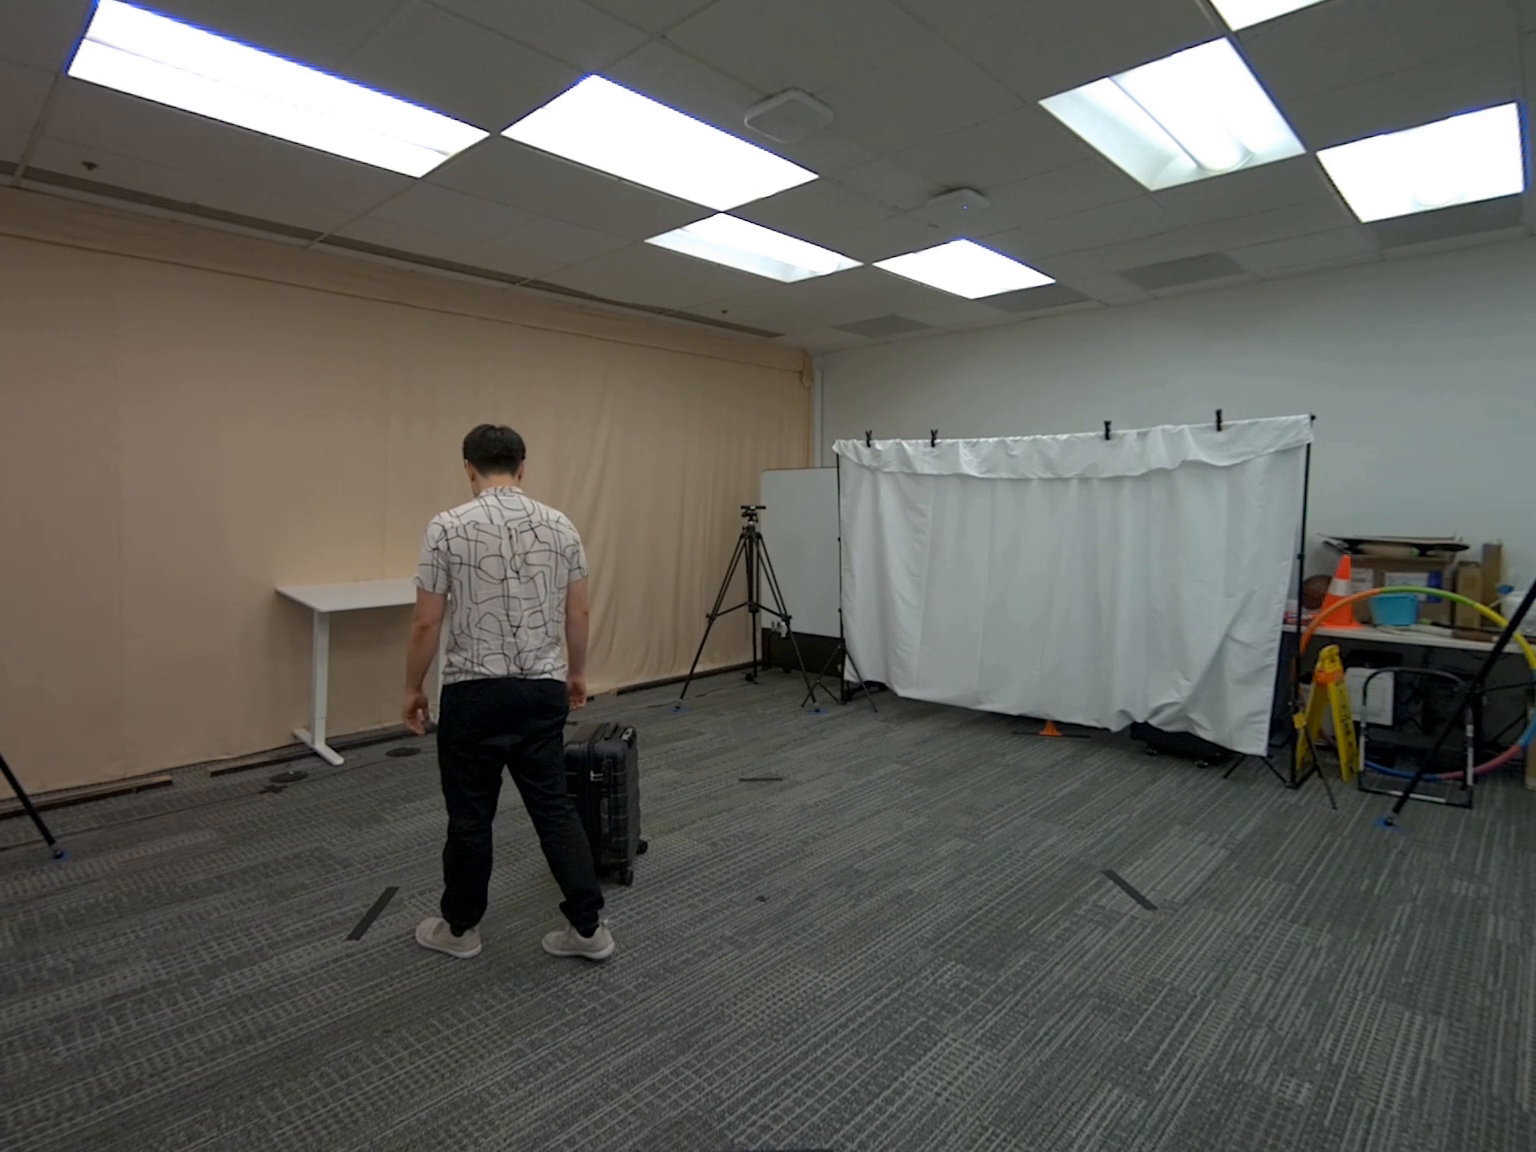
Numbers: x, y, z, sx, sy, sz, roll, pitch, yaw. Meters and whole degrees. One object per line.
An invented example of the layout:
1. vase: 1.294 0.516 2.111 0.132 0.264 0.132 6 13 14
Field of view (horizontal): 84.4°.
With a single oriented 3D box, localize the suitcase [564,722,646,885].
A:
1. suitcase: -0.636 0.854 3.223 0.249 0.548 0.376 -1 4 1
